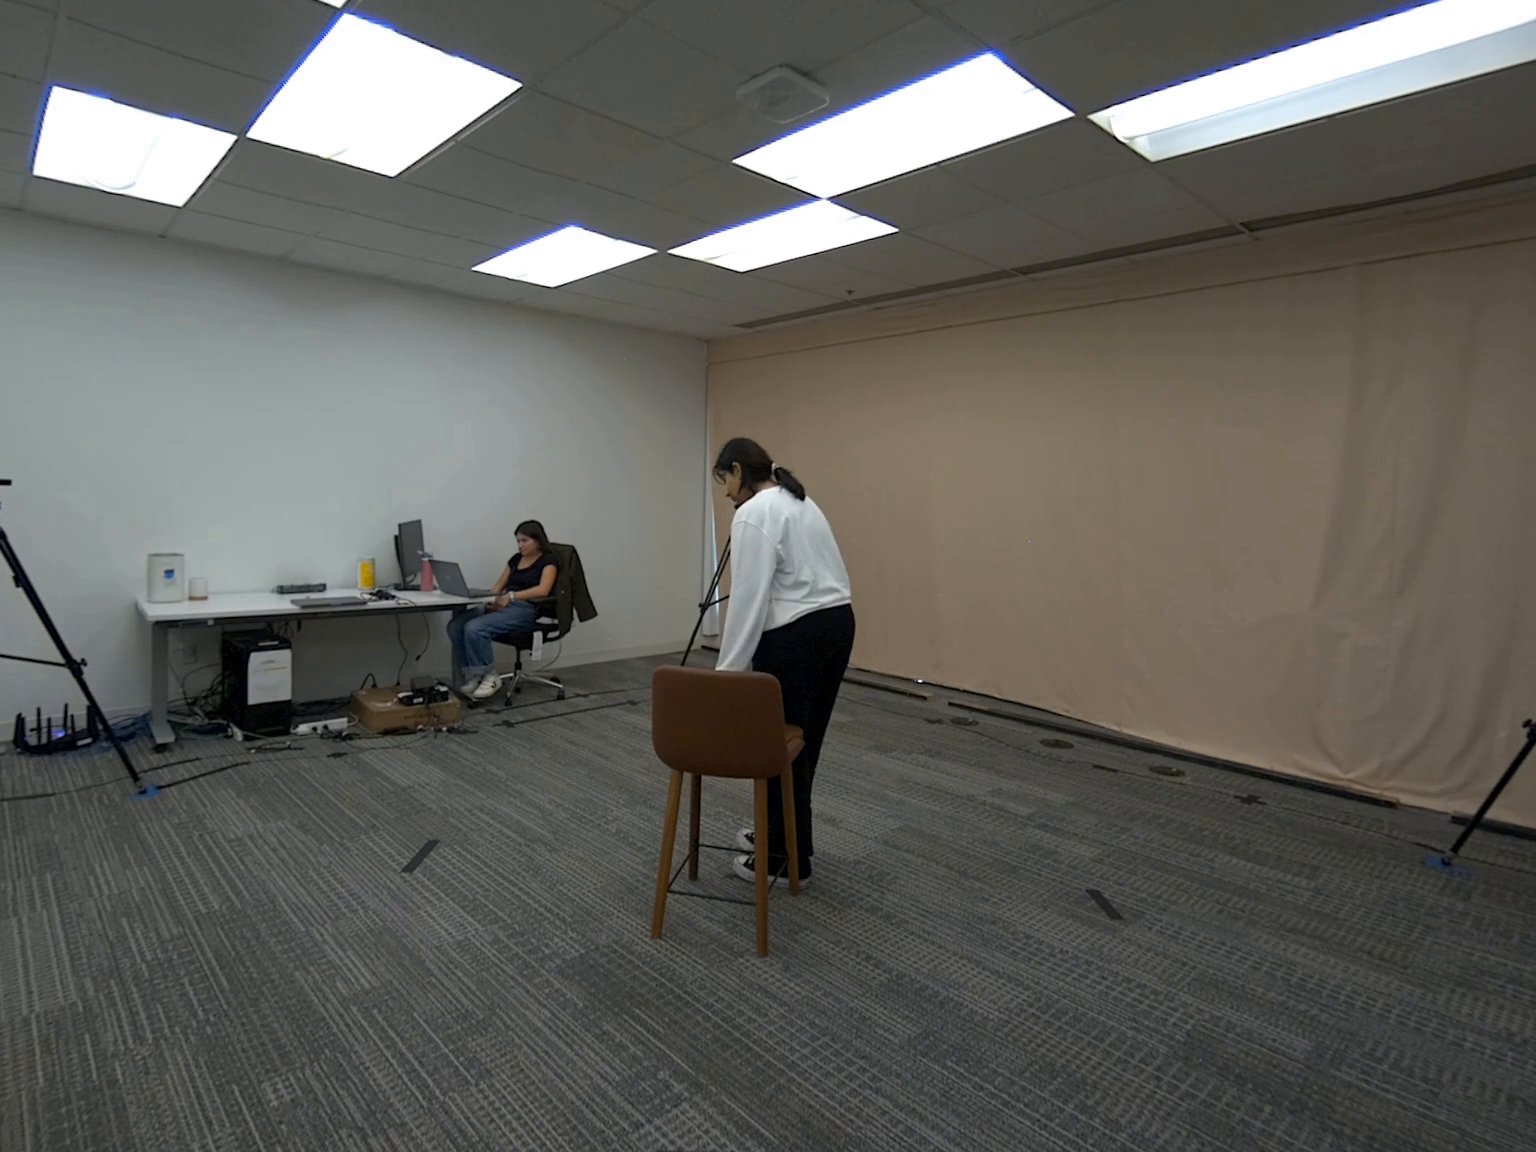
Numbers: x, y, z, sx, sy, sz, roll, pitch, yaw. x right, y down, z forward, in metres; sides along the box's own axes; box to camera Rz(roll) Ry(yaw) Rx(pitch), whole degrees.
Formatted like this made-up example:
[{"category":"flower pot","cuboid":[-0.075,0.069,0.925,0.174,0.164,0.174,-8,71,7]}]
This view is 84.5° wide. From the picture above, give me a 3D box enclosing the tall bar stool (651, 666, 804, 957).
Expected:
[{"category":"tall bar stool","cuboid":[-0.135,0.703,2.788,0.463,0.886,0.463,3,6,16]}]
